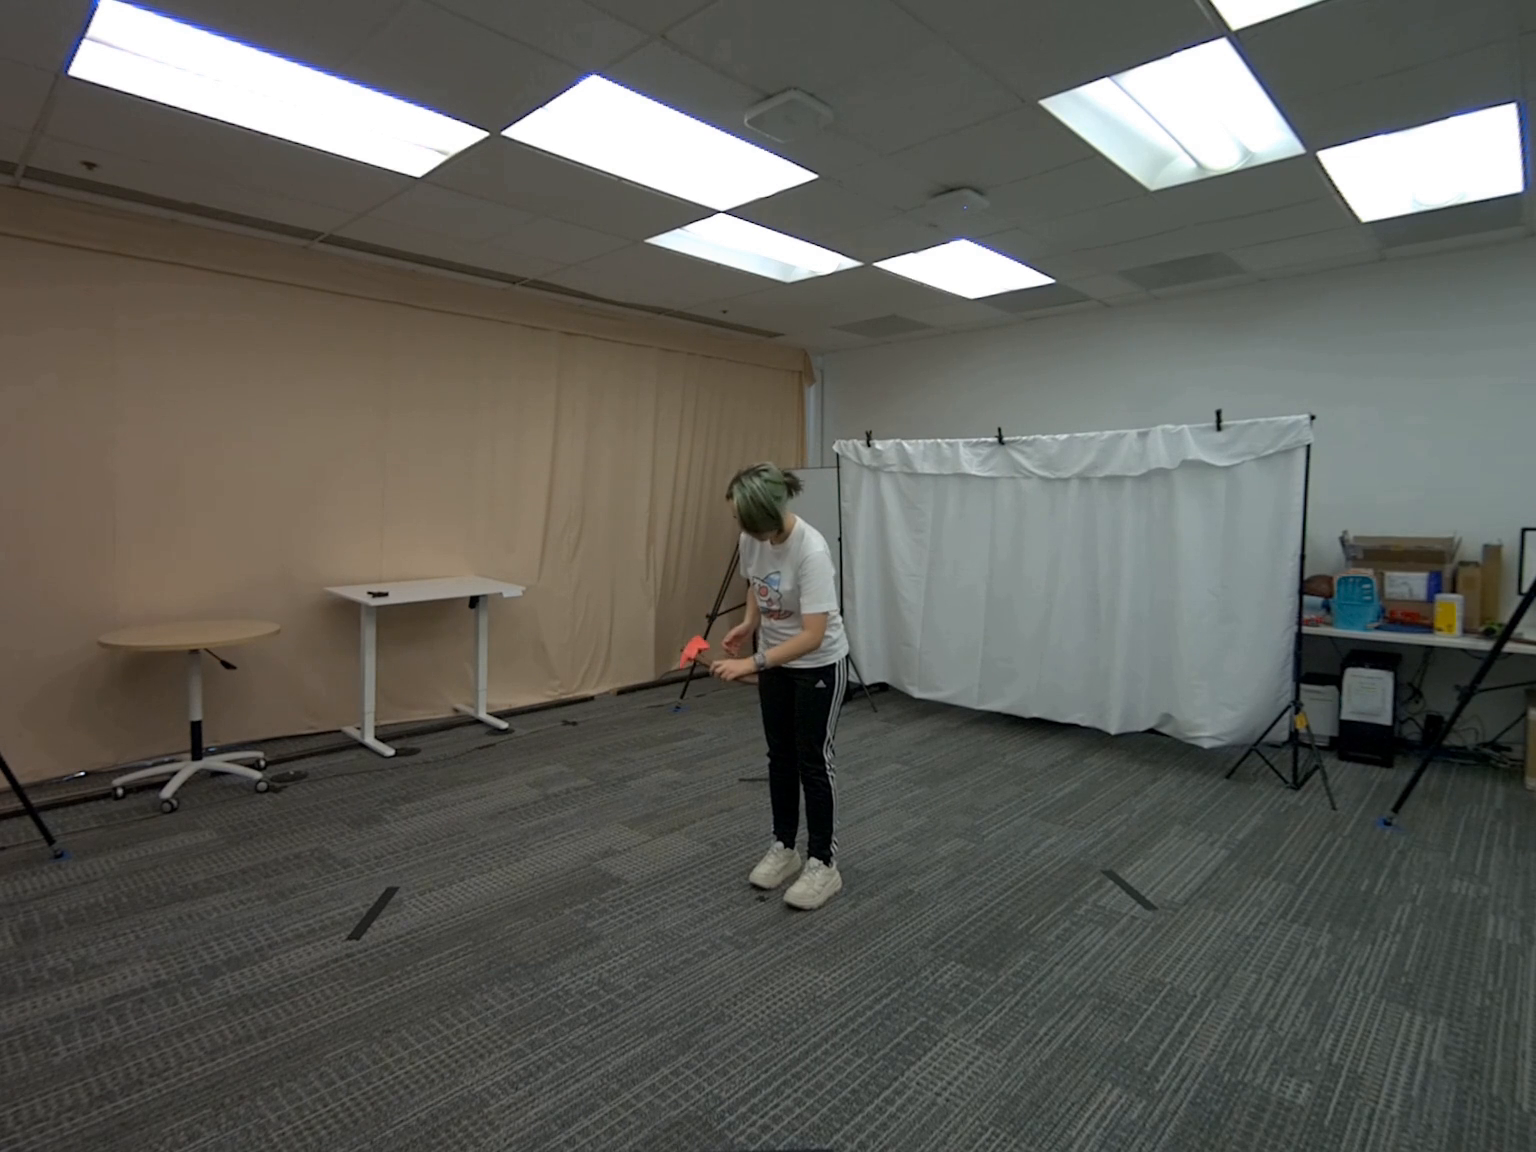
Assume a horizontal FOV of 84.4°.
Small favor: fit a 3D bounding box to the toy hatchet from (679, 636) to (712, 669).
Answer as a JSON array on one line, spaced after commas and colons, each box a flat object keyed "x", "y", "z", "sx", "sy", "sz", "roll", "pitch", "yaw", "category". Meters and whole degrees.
[{"x": -0.142, "y": 0.282, "z": 2.756, "sx": 0.268, "sy": 0.133, "sz": 0.029, "roll": 10, "pitch": -41, "yaw": -7, "category": "toy hatchet"}]
